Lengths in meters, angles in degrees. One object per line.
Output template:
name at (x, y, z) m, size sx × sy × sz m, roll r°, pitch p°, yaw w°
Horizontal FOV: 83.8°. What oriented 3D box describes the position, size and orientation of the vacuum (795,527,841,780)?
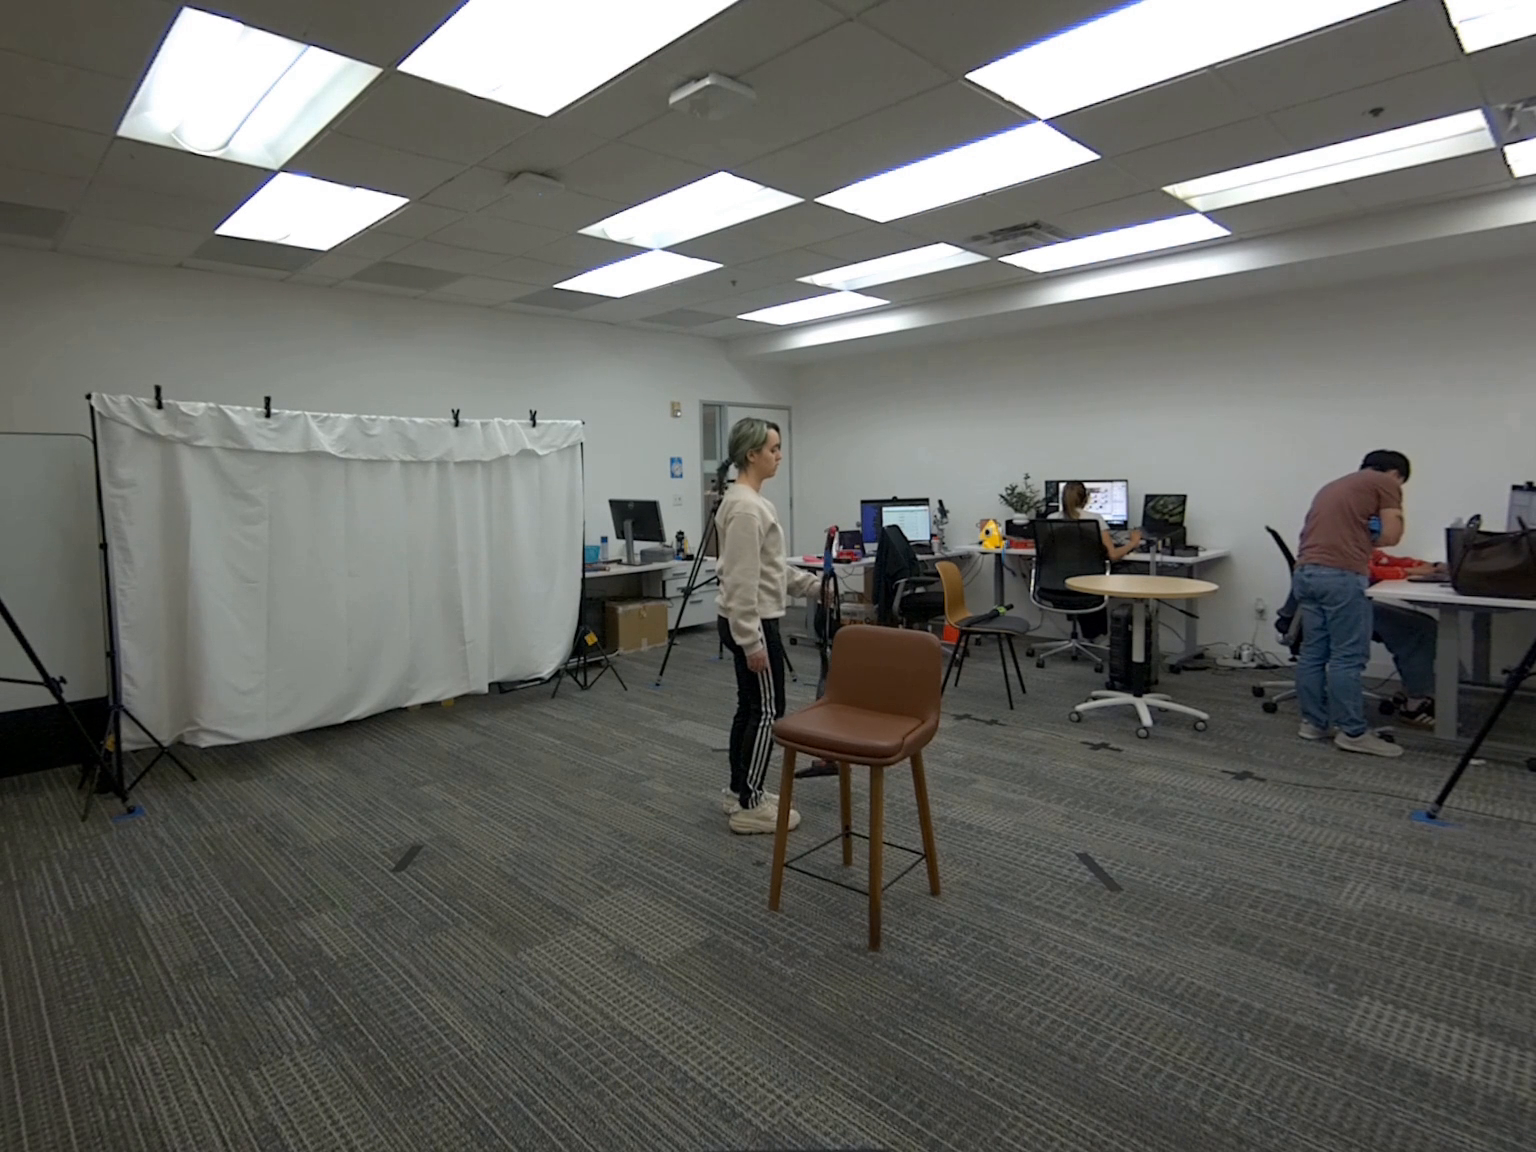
vacuum at (0.257, 0.321, 3.581) m, size 0.248 × 1.040 × 0.148 m, roll -1°, pitch 10°, yaw -19°
